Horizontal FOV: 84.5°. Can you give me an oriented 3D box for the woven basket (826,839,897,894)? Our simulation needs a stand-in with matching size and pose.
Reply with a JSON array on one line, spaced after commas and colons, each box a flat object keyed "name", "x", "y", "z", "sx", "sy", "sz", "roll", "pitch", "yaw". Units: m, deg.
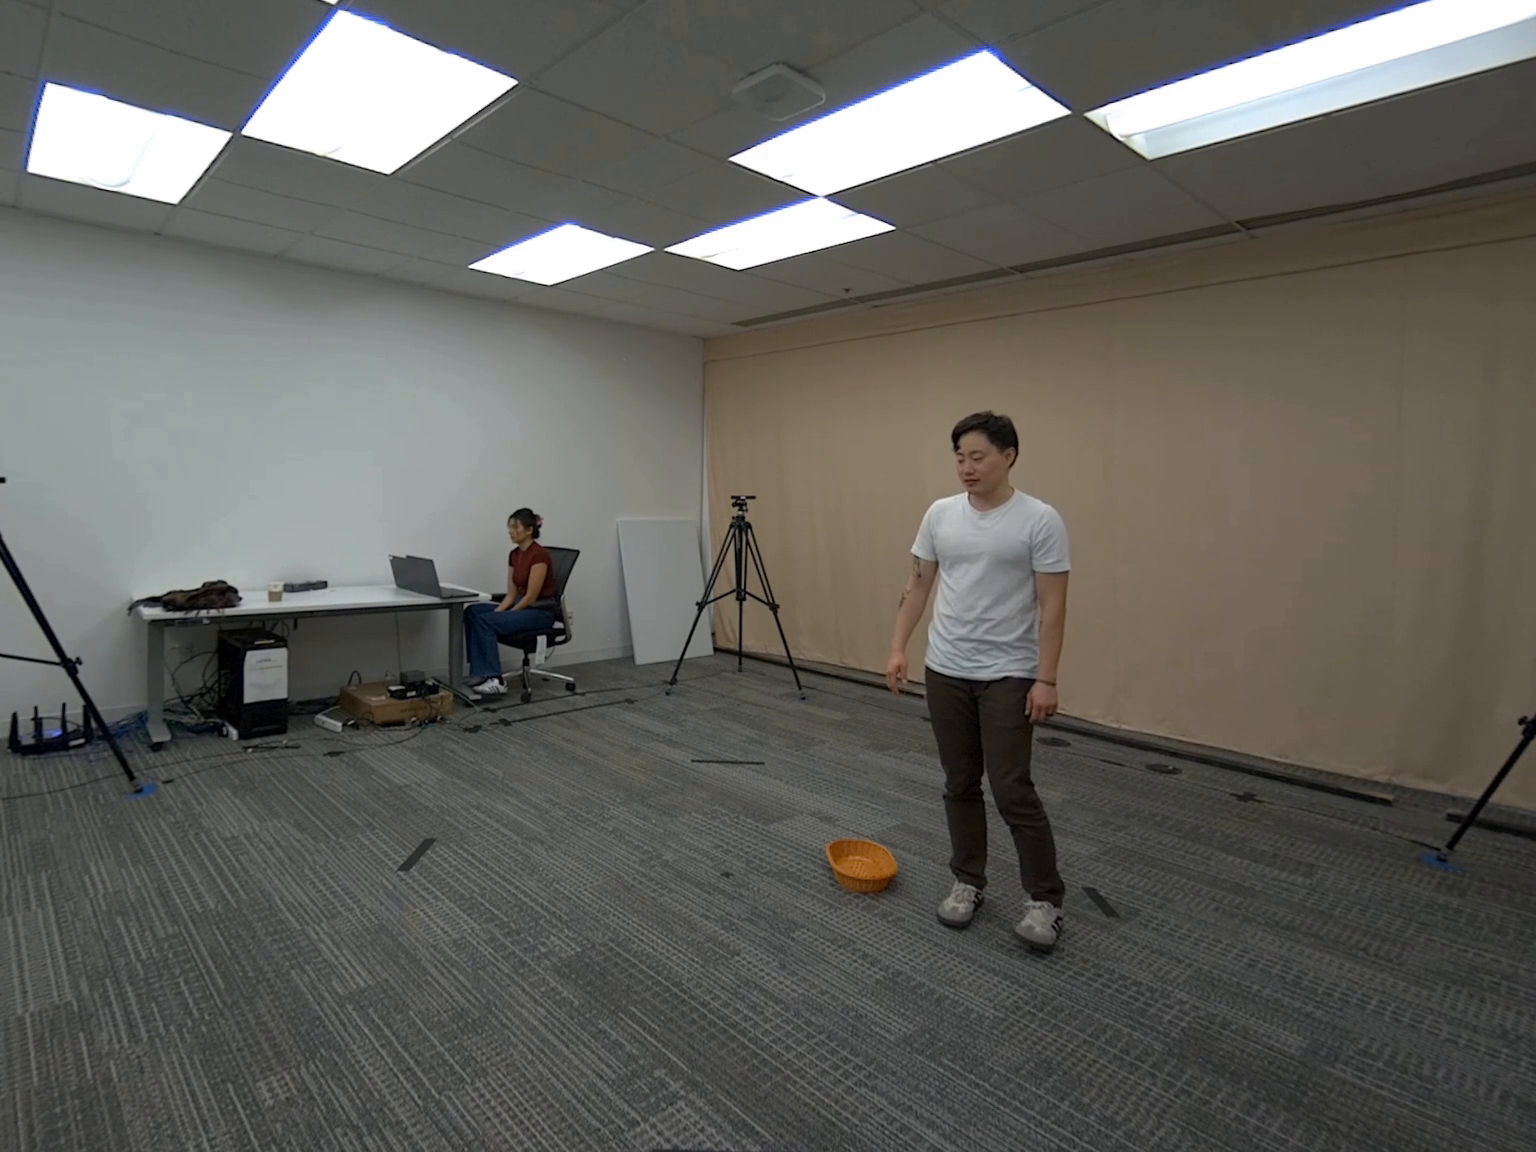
[{"name": "woven basket", "x": 0.335, "y": 1.073, "z": 3.117, "sx": 0.252, "sy": 0.073, "sz": 0.352, "roll": 2, "pitch": 4, "yaw": -4}]
